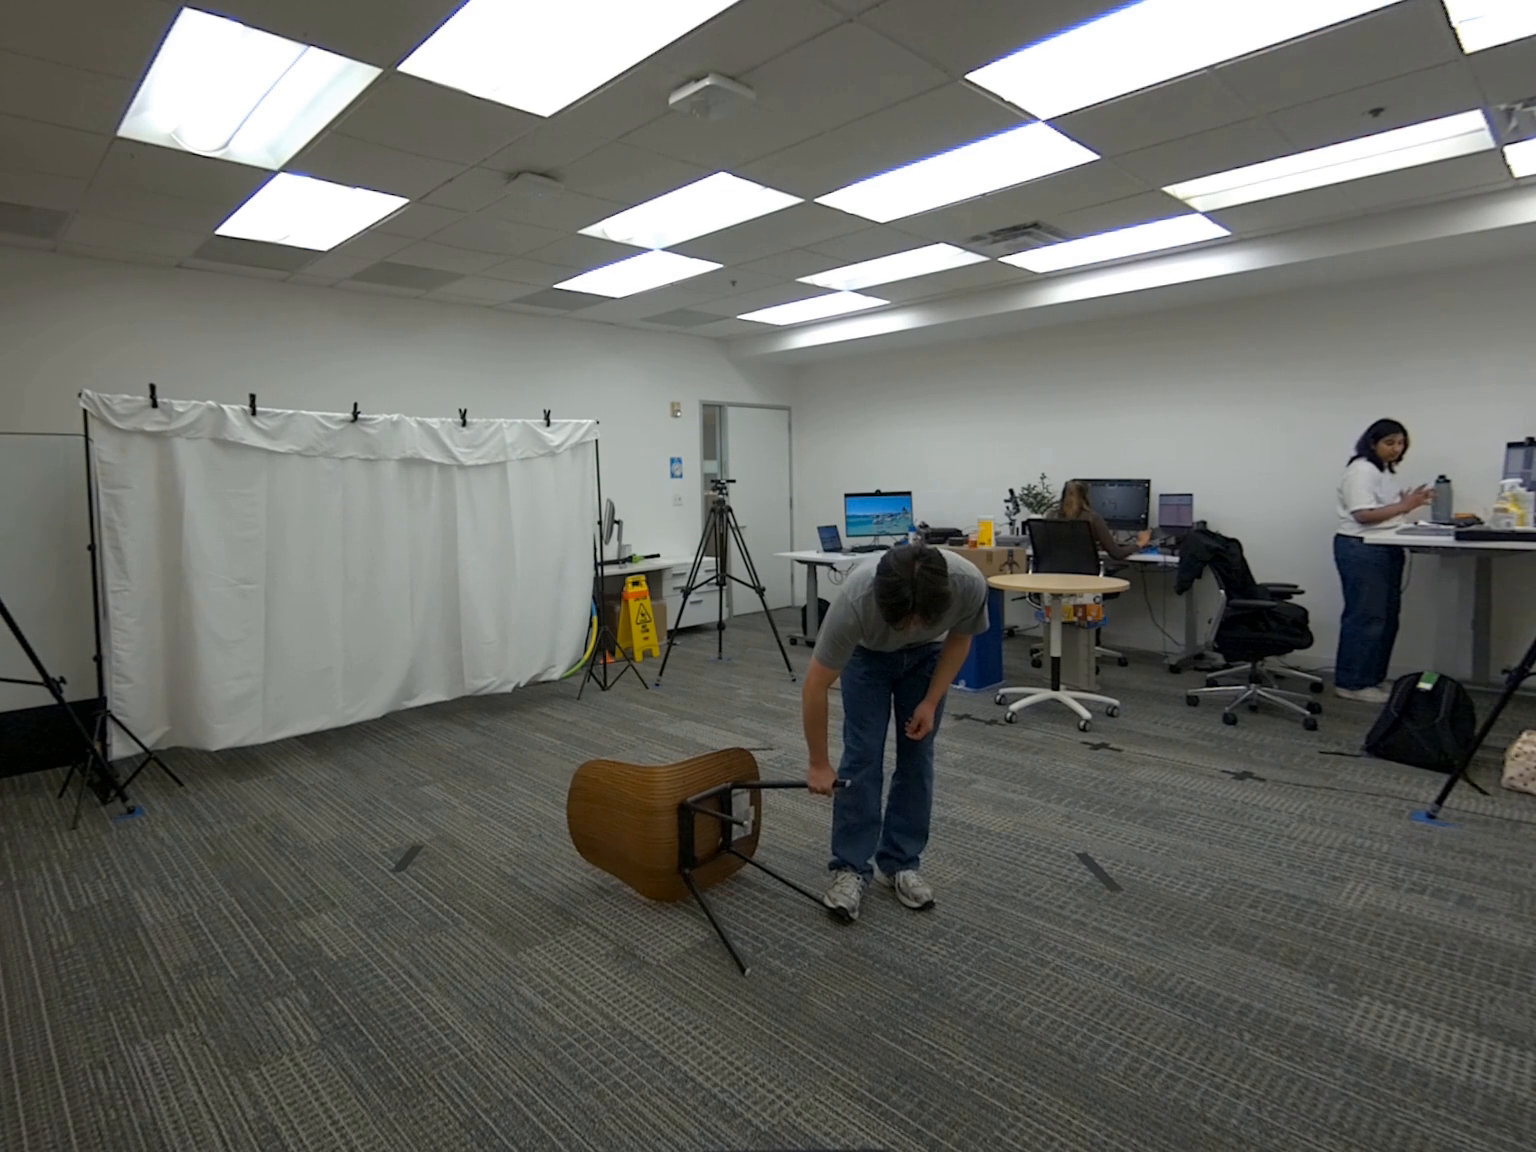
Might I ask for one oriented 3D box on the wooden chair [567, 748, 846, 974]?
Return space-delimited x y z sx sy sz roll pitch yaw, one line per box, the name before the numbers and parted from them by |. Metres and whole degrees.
wooden chair | -0.193 0.841 2.845 0.905 0.475 0.510 7 9 42
